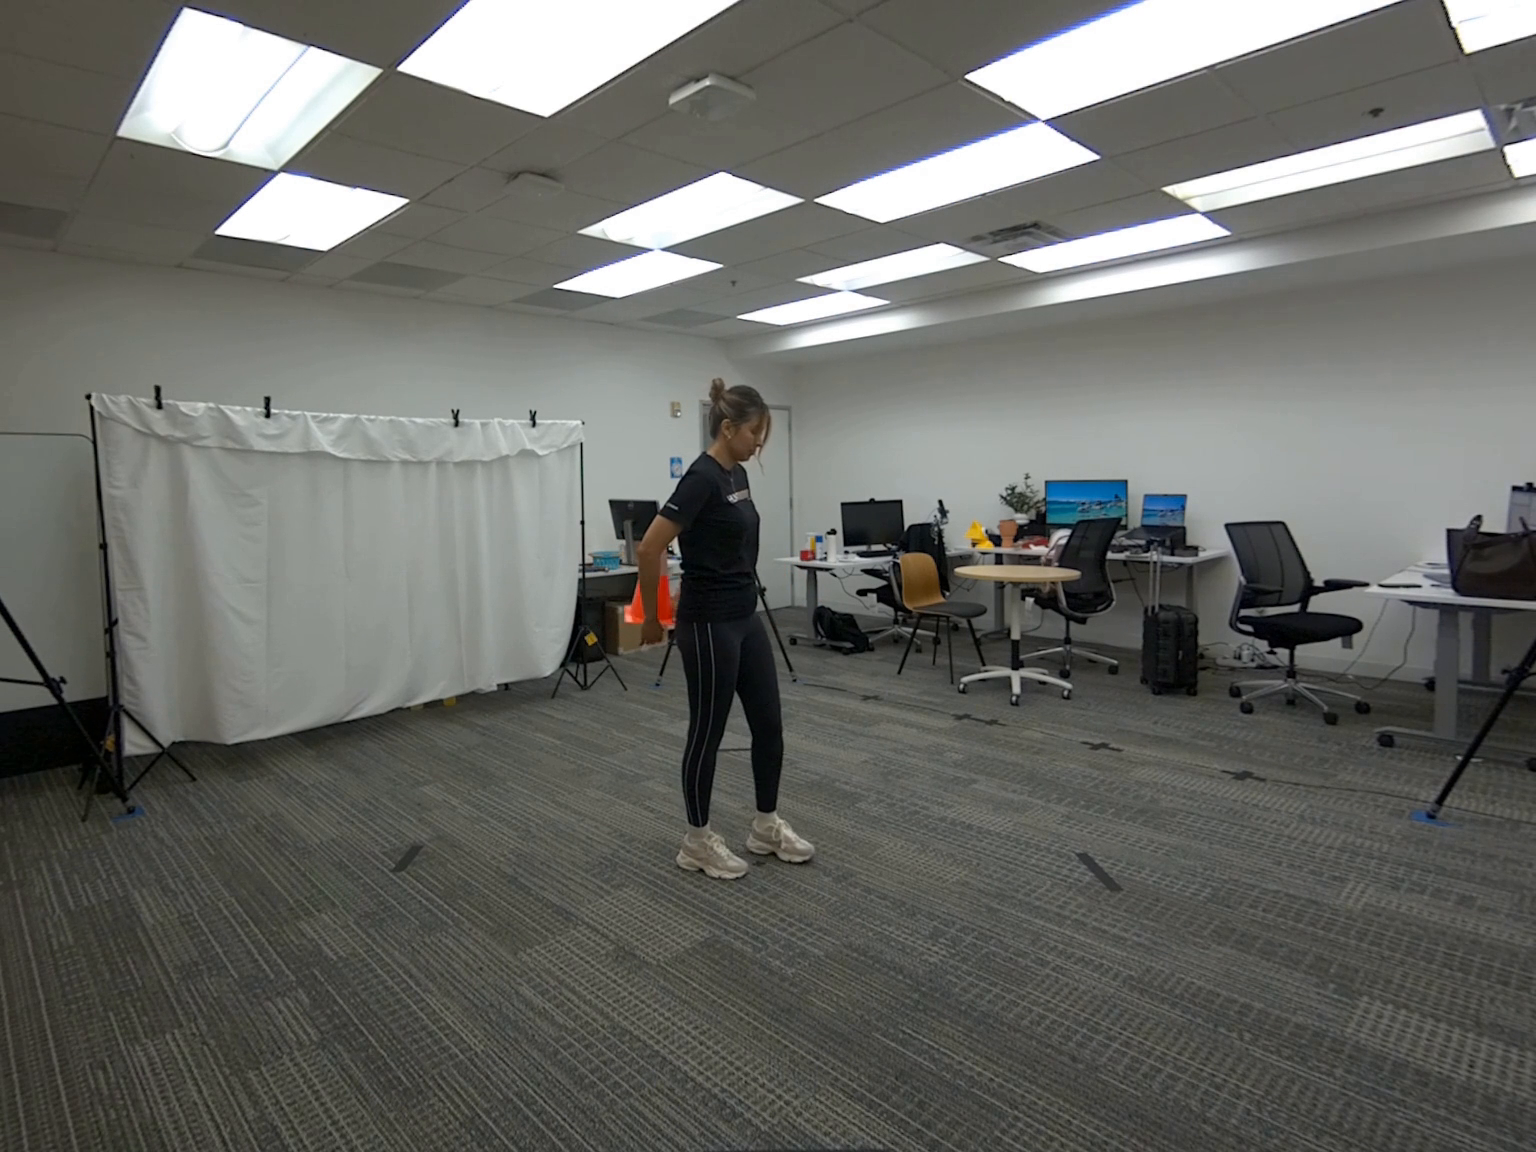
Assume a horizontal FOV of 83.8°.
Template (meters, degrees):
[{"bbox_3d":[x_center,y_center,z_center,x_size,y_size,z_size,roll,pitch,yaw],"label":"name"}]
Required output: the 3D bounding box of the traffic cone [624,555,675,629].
[{"bbox_3d":[-0.393,-0.034,3.161,0.203,0.380,0.207,5,11,-11],"label":"traffic cone"}]
